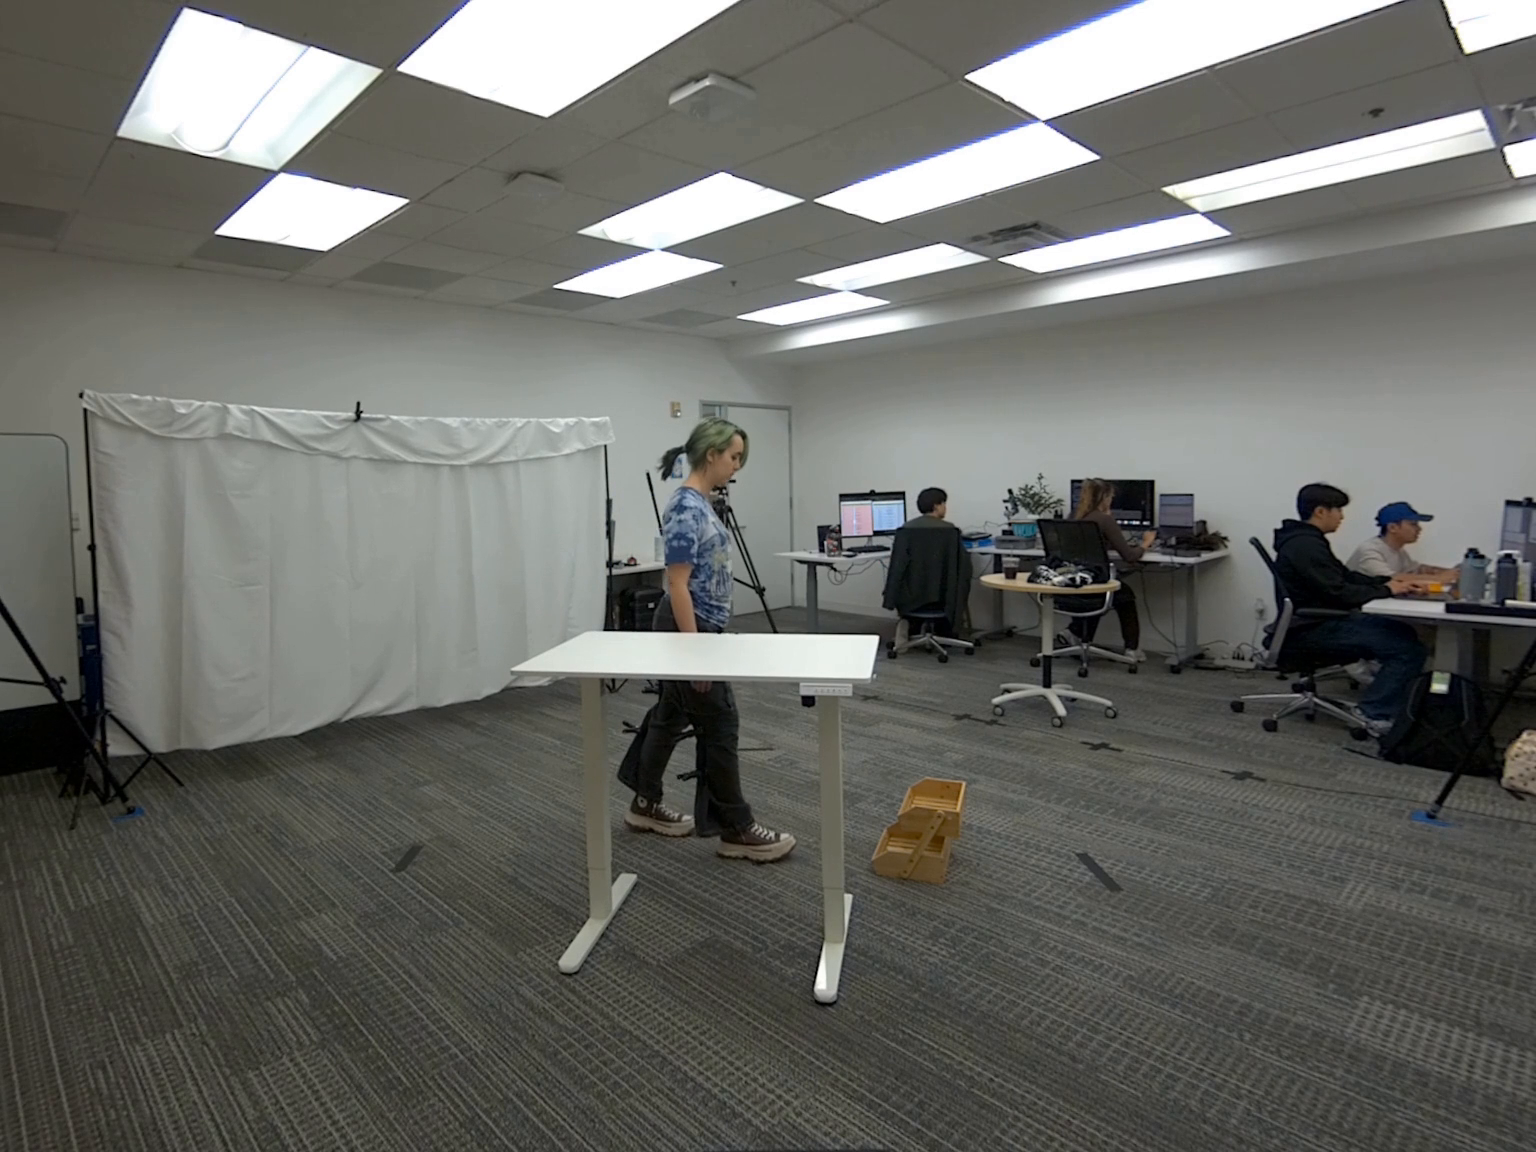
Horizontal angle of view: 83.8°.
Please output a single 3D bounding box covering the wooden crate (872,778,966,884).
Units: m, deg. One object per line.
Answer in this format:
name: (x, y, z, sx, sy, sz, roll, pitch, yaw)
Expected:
wooden crate: (0.549, 0.905, 3.090, 0.307, 0.272, 0.320, 1, 5, 18)
